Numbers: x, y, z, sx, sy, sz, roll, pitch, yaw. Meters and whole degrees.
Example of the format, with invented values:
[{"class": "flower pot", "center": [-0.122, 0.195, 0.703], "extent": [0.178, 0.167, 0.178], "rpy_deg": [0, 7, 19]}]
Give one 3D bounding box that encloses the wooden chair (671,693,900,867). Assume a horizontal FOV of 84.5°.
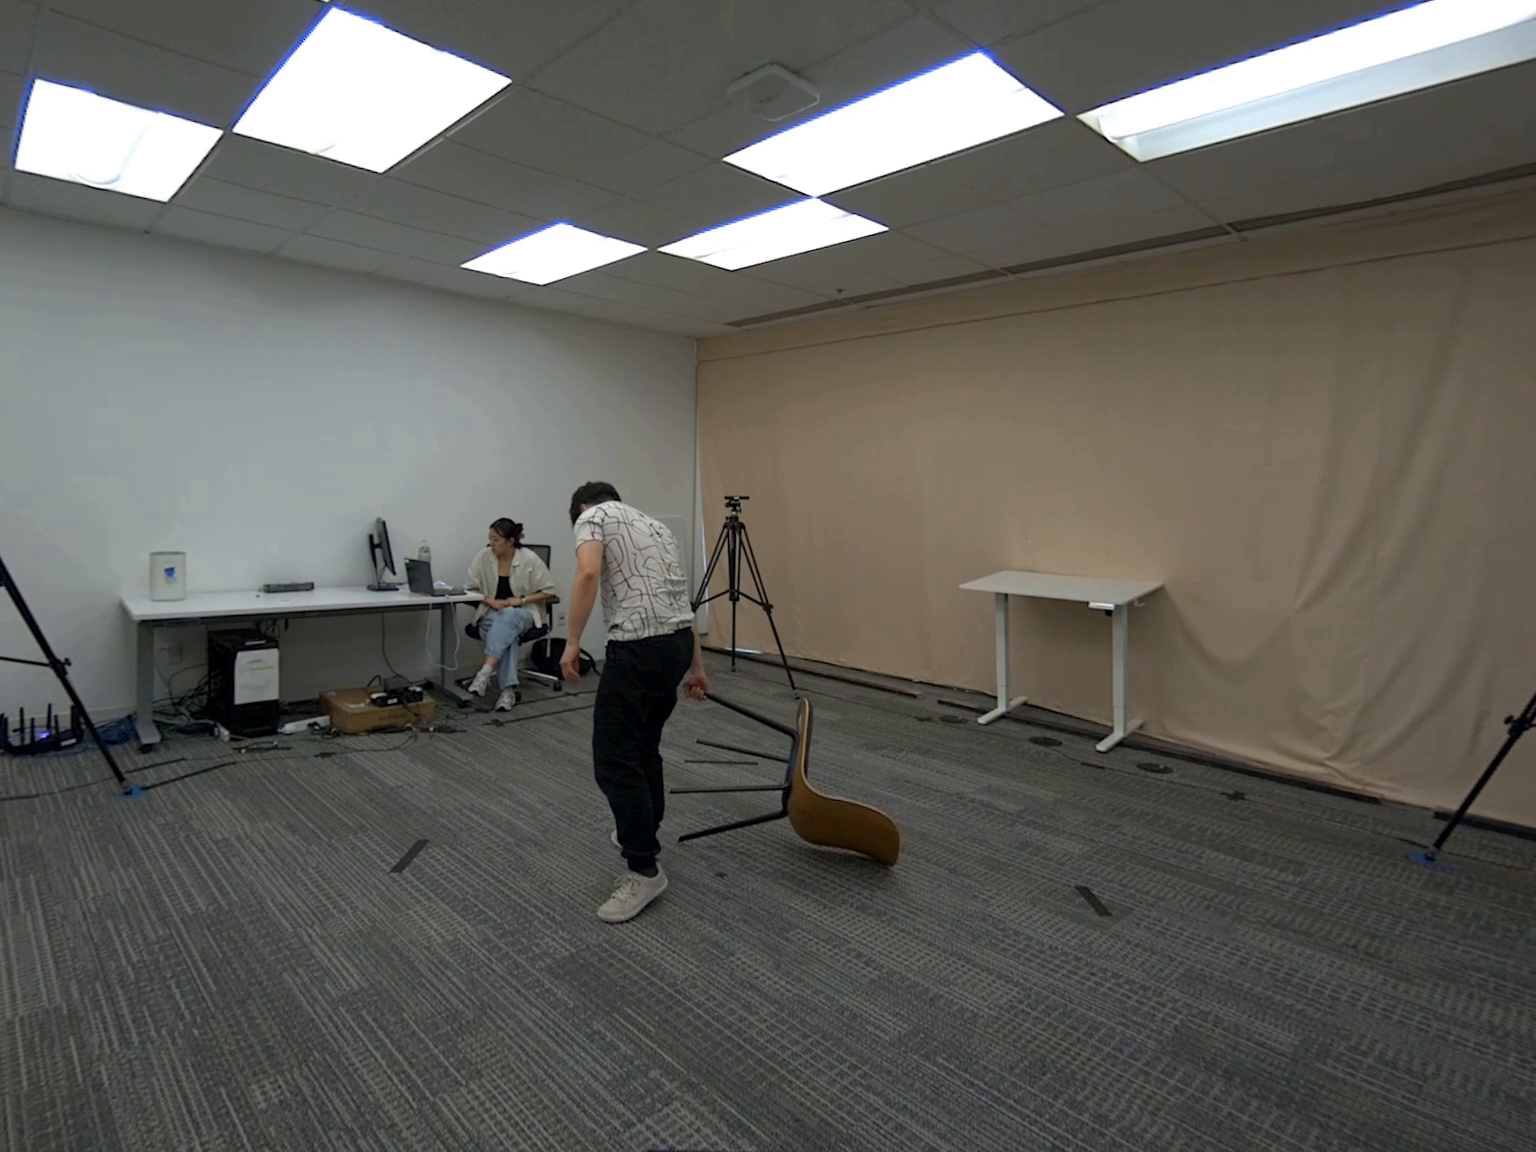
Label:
[{"class": "wooden chair", "center": [0.085, 0.786, 3.317], "extent": [0.885, 0.531, 0.467], "rpy_deg": [8, -40, 9]}]
